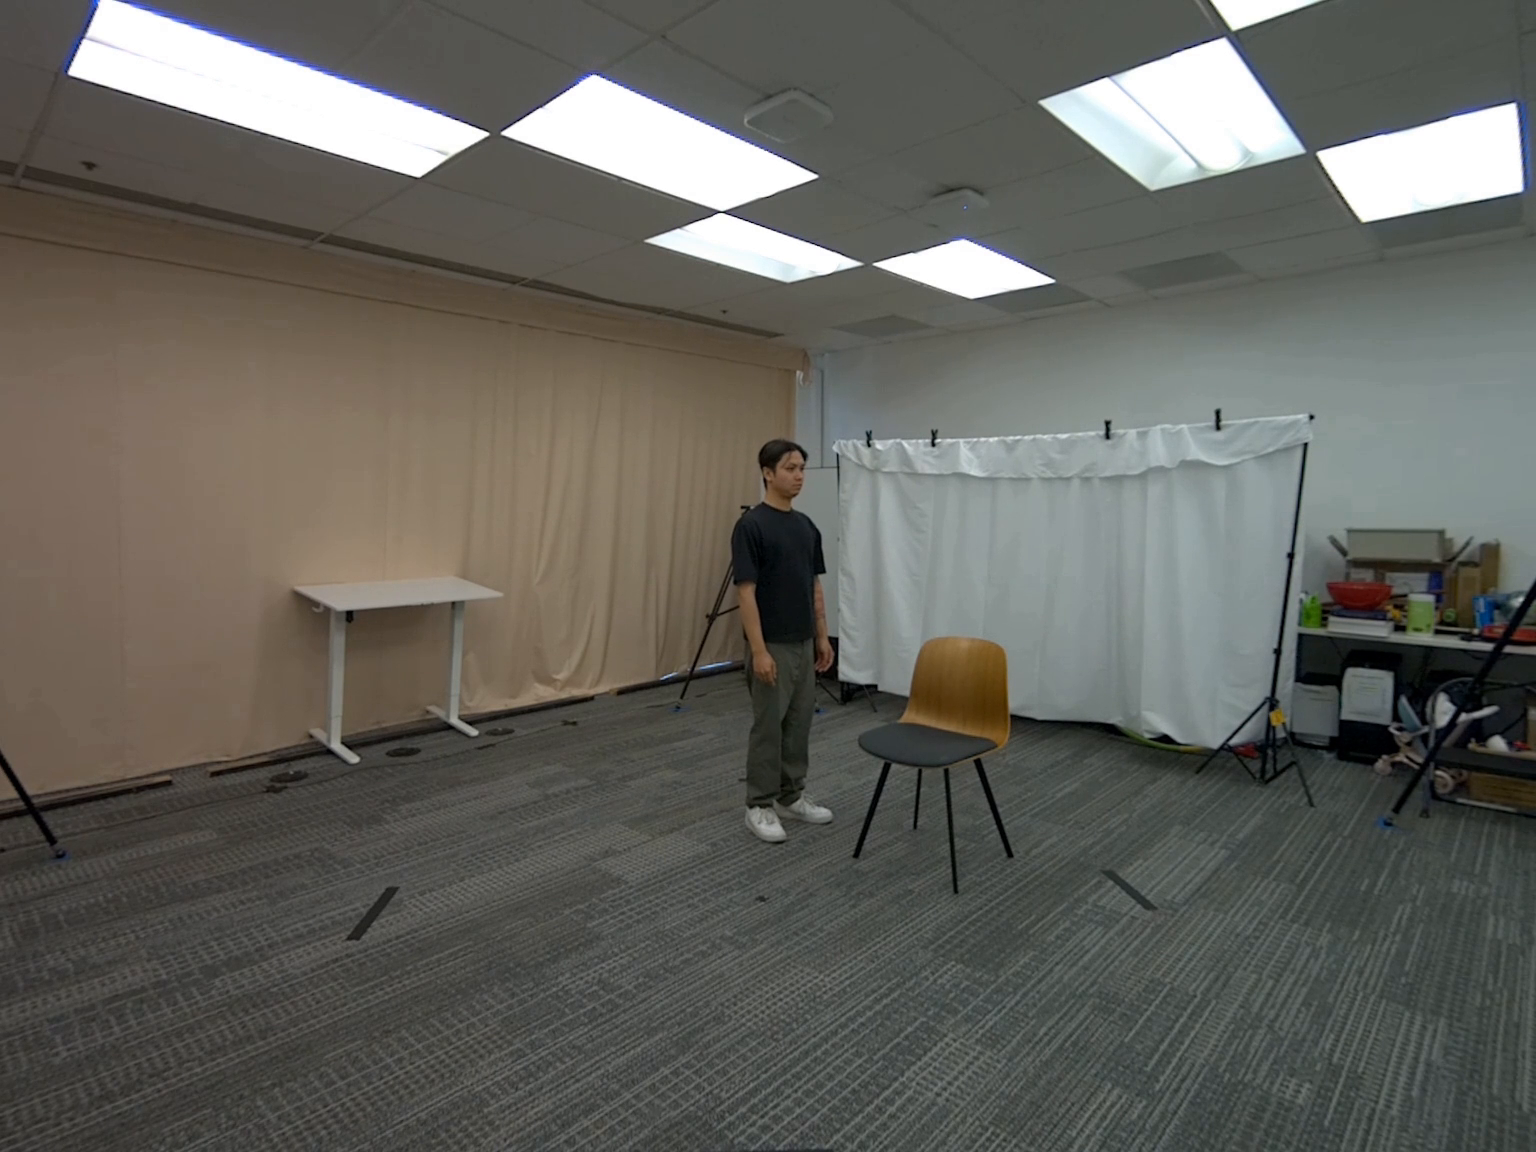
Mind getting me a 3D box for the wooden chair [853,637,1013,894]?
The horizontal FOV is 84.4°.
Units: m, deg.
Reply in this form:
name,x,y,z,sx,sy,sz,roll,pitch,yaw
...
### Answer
name,x,y,z,sx,sy,sz,roll,pitch,yaw
wooden chair,0.653,0.689,3.291,0.494,0.877,0.506,3,0,43
